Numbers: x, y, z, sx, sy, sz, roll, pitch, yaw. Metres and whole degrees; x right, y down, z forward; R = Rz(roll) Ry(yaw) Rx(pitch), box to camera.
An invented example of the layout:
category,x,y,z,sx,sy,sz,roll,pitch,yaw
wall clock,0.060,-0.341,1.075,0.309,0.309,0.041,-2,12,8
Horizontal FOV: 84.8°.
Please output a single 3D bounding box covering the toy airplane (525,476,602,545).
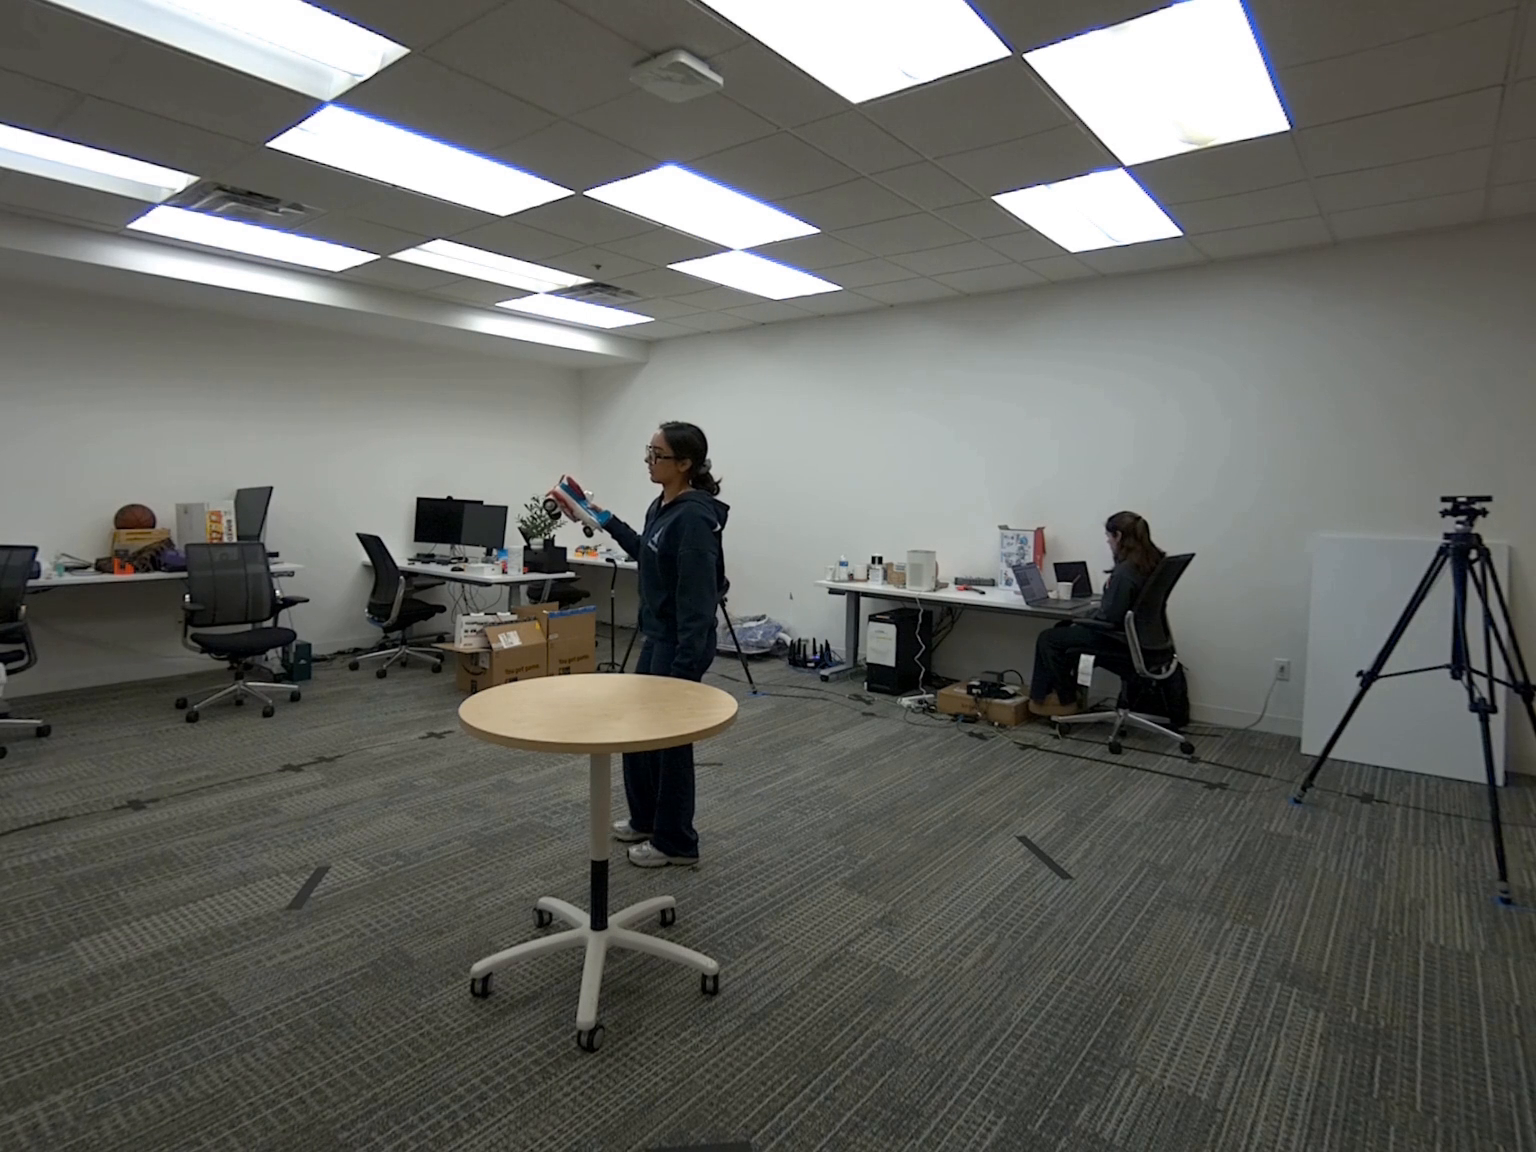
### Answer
category,x,y,z,sx,sy,sz,roll,pitch,yaw
toy airplane,-0.767,-0.262,3.365,0.253,0.157,0.256,35,-16,-17
